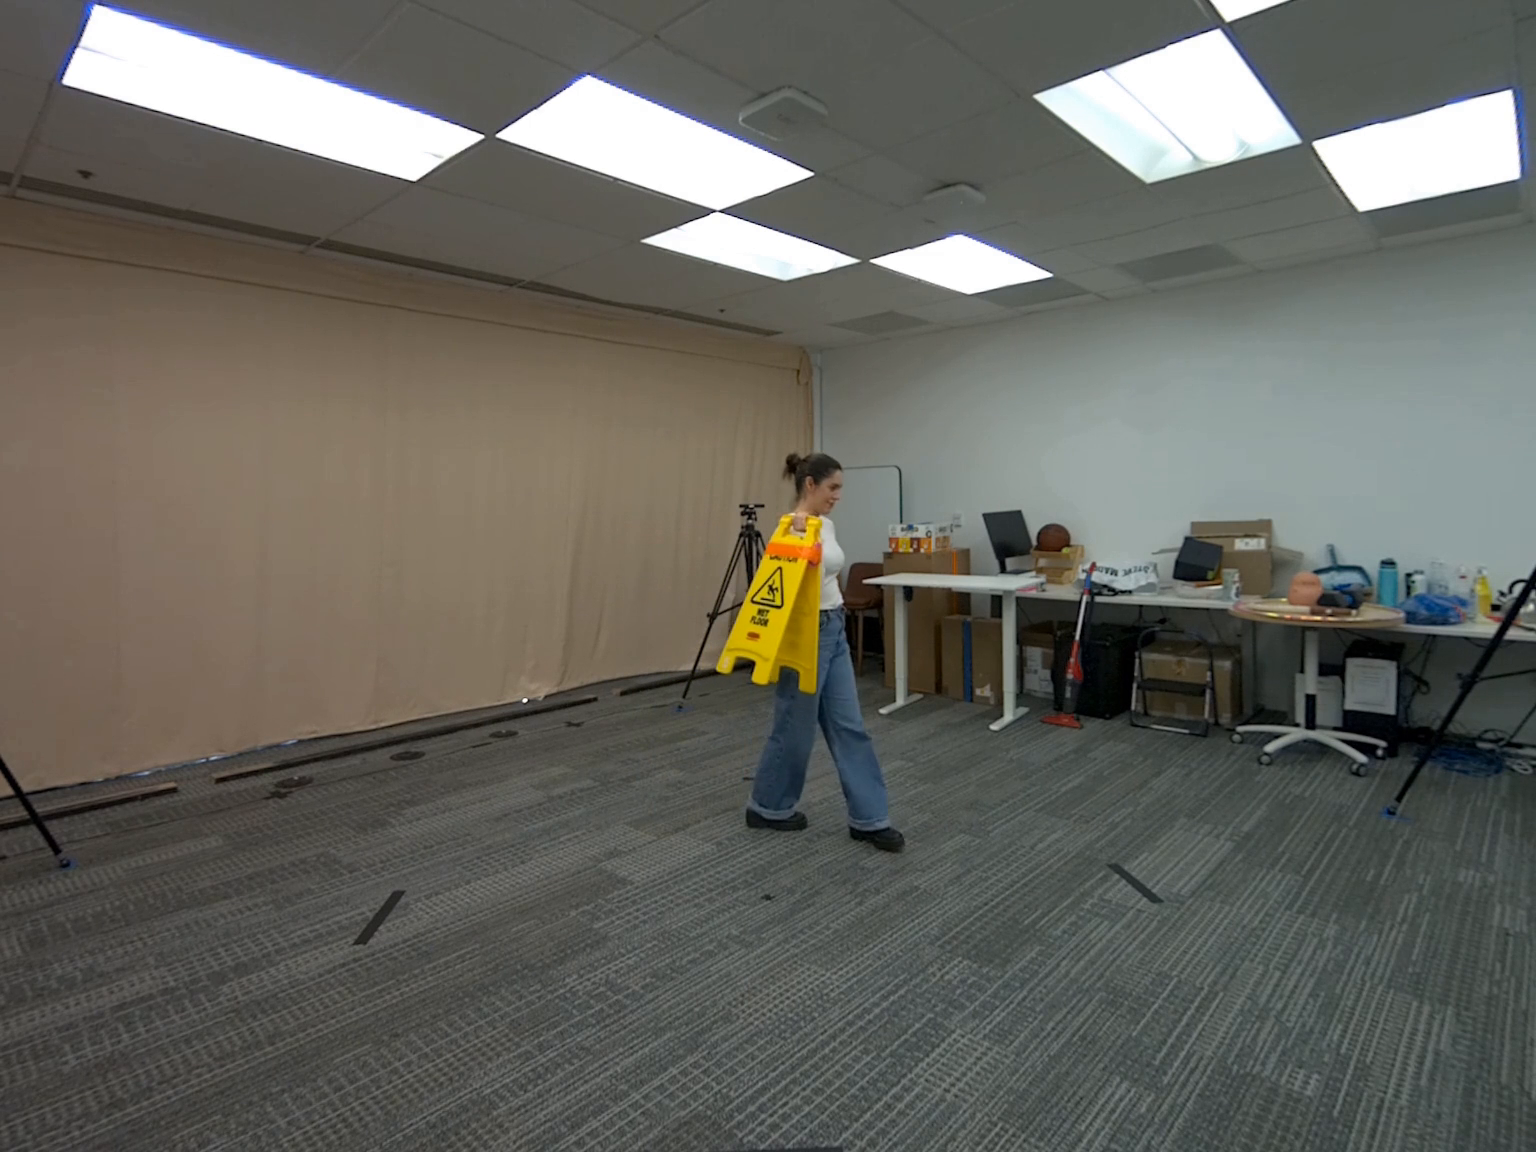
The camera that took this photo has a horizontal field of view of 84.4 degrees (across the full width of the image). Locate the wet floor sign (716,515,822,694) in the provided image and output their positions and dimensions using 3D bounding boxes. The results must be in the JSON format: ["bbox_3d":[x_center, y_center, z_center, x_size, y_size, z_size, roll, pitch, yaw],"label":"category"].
[{"bbox_3d":[0.066,0.086,3.197,0.279,0.647,0.292,17,-6,-44],"label":"wet floor sign"}]
